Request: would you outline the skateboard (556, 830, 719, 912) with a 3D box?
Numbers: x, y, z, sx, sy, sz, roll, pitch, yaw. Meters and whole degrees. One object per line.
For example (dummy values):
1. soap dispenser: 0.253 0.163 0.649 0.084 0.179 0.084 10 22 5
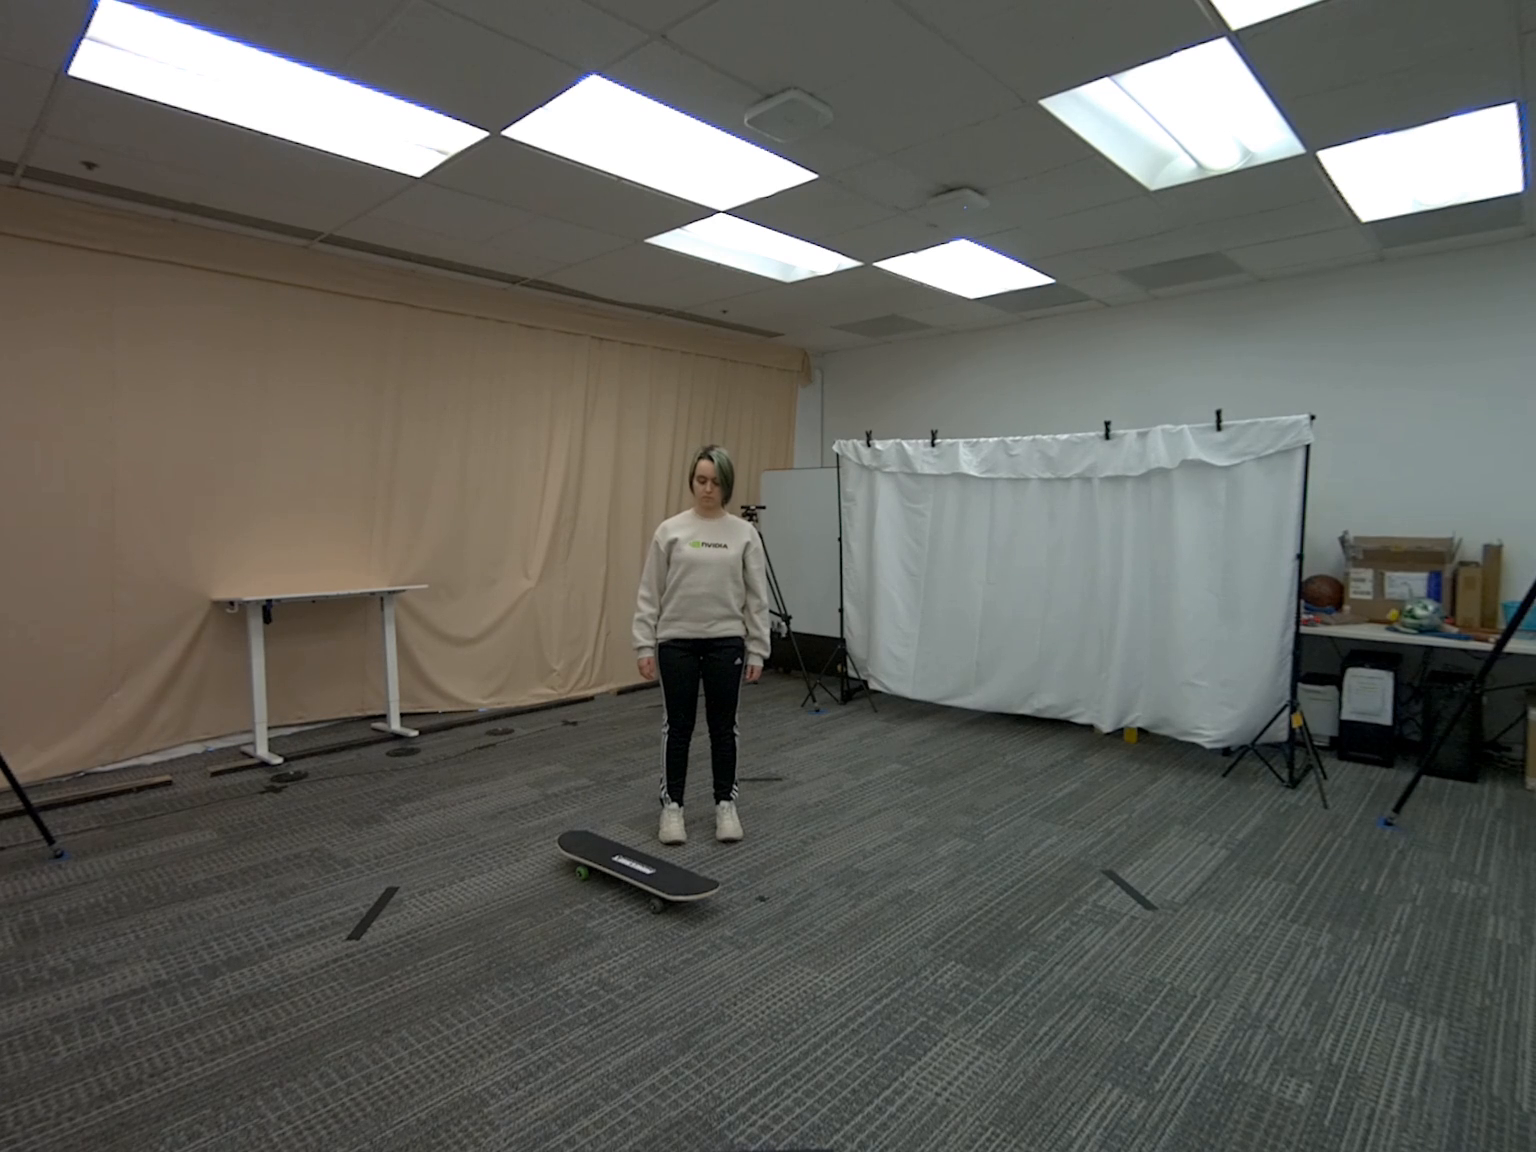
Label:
1. skateboard: -0.489 1.084 3.072 0.811 0.110 0.187 4 6 40
